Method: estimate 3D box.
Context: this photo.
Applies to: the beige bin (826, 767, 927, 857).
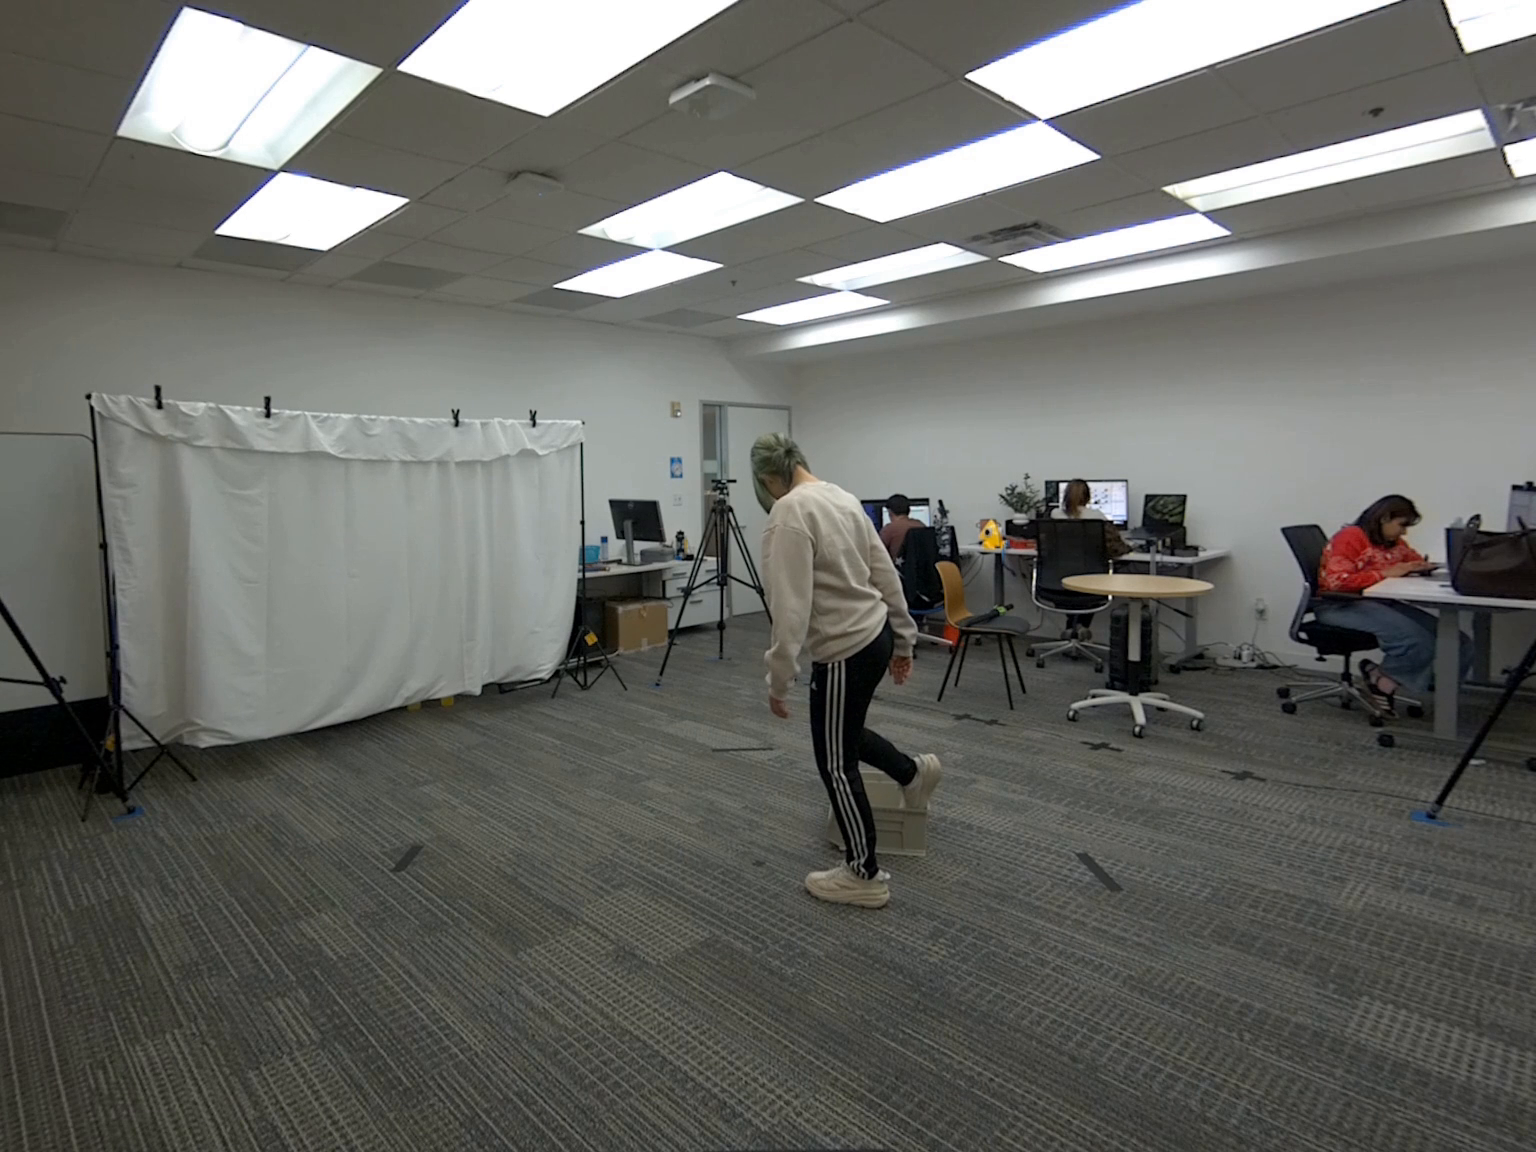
[{"bbox_3d":[0.430,0.921,3.369,0.381,0.188,0.421,2,7,8],"label":"beige bin"}]
